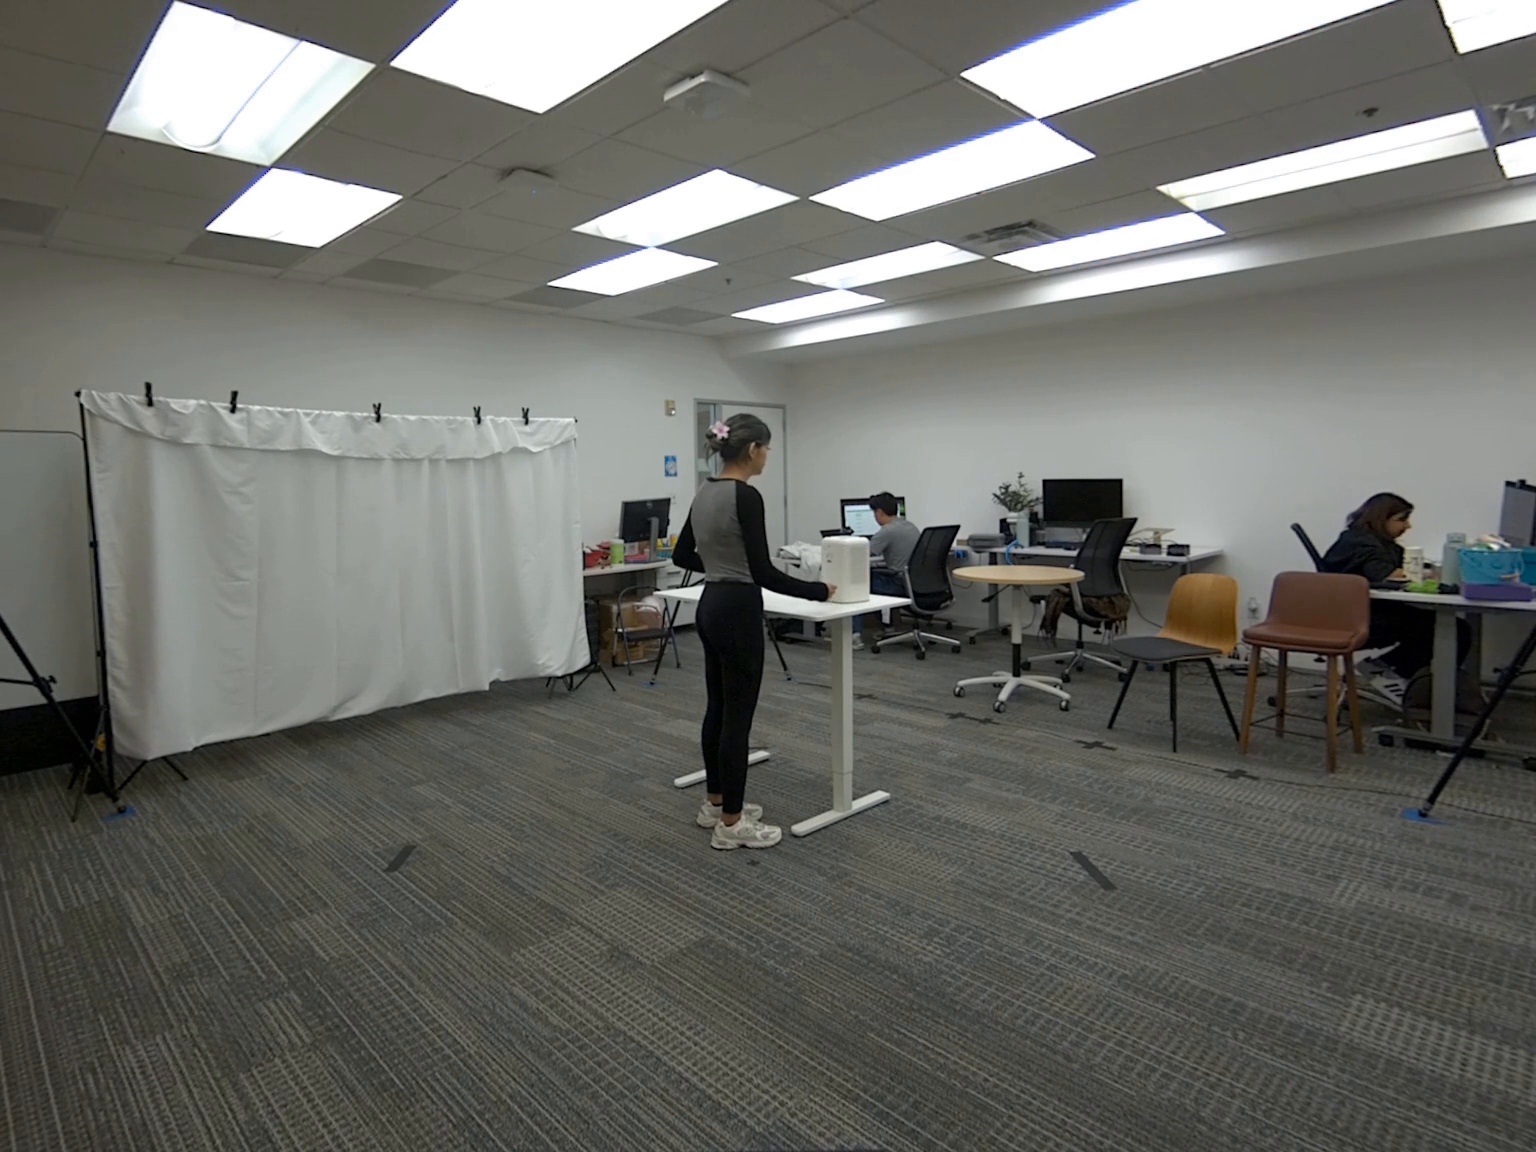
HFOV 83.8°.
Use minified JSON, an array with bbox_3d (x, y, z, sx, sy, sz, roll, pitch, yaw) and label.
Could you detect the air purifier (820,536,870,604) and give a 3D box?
[{"bbox_3d":[0.329,-0.030,3.565,0.167,0.264,0.176,-4,6,-33],"label":"air purifier"}]
